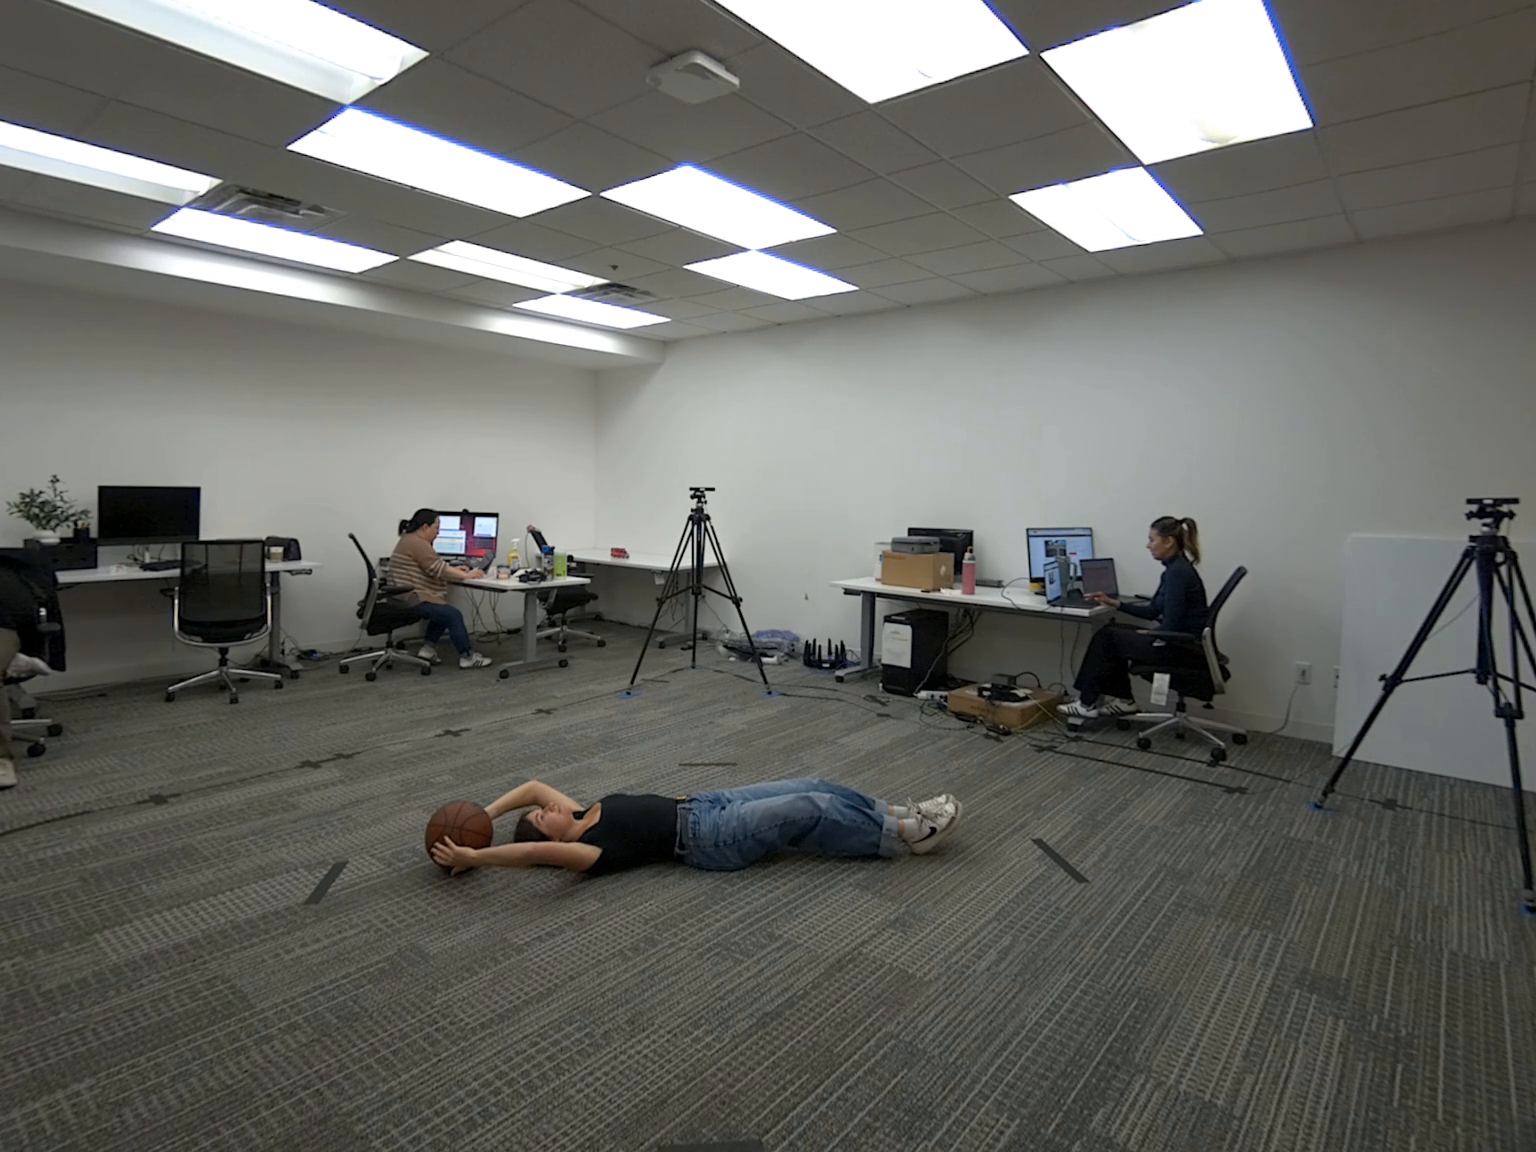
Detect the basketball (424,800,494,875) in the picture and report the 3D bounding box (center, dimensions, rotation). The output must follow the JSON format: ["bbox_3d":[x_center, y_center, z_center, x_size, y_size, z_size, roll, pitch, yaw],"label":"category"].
[{"bbox_3d":[-1.138,0.935,3.073,0.235,0.235,0.237,1,4,-2],"label":"basketball"}]
